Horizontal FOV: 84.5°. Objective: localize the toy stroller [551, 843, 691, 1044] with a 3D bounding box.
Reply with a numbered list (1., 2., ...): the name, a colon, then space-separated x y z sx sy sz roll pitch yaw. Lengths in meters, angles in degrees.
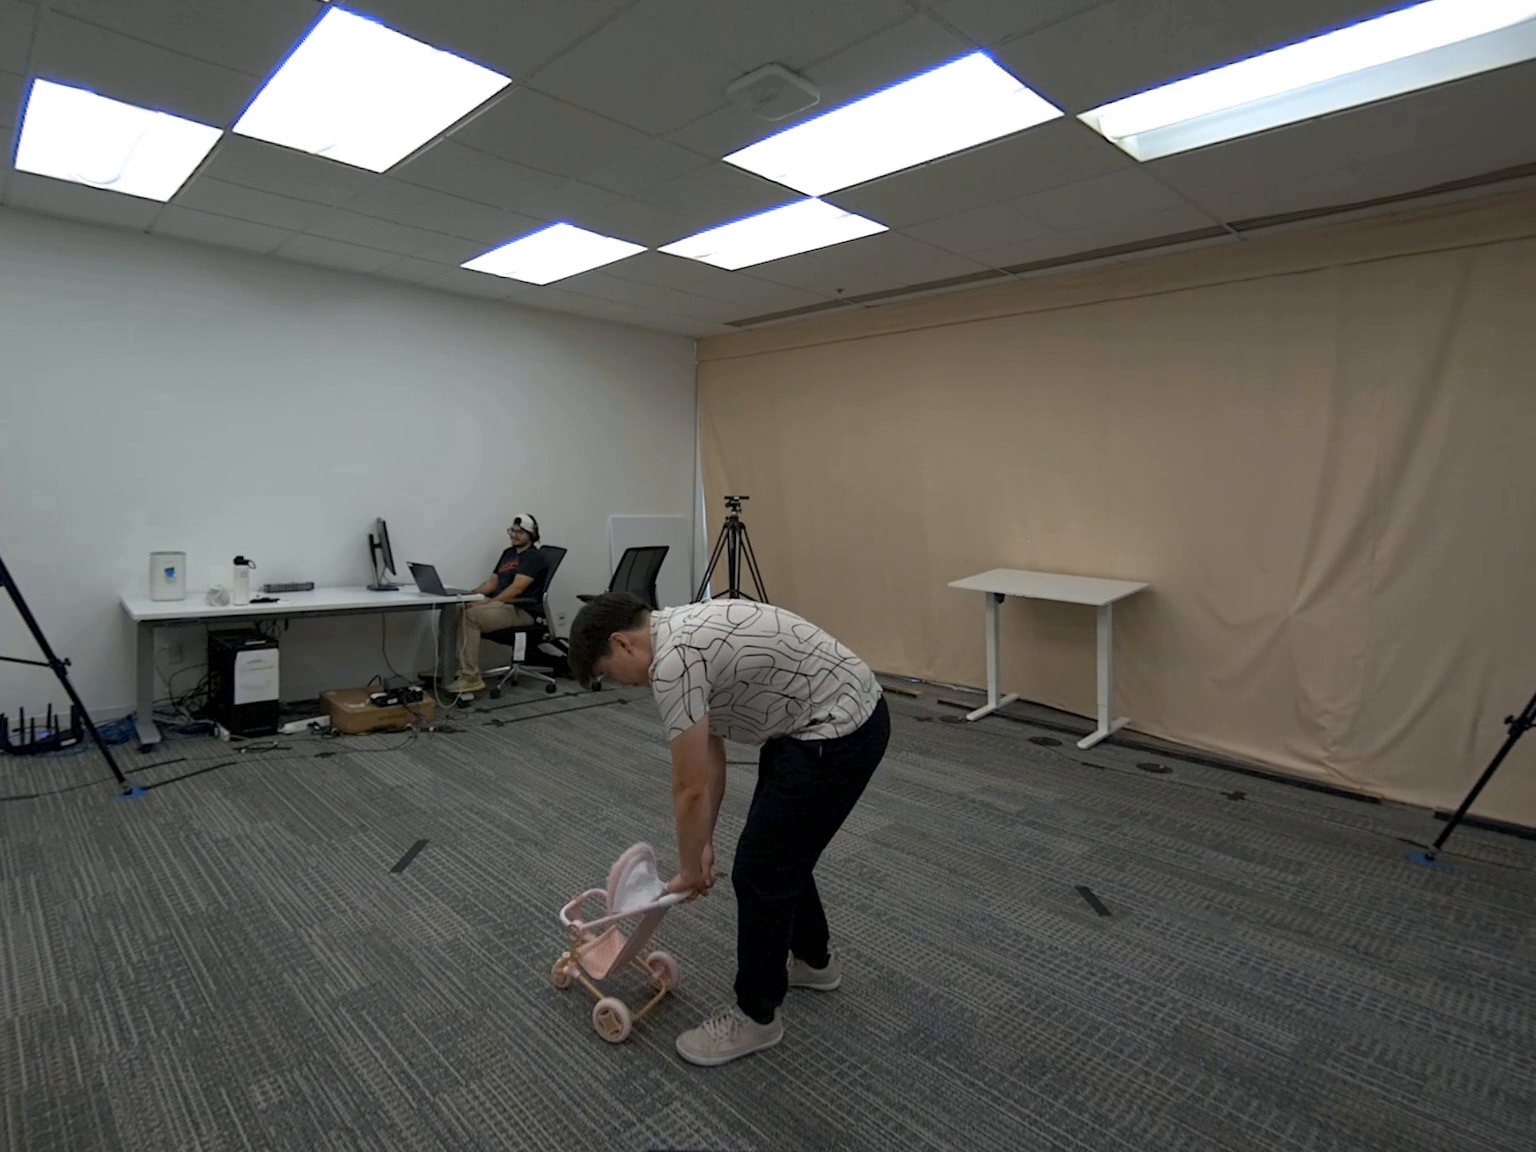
1. toy stroller: -0.394 0.949 2.278 0.350 0.532 0.276 24 13 27
